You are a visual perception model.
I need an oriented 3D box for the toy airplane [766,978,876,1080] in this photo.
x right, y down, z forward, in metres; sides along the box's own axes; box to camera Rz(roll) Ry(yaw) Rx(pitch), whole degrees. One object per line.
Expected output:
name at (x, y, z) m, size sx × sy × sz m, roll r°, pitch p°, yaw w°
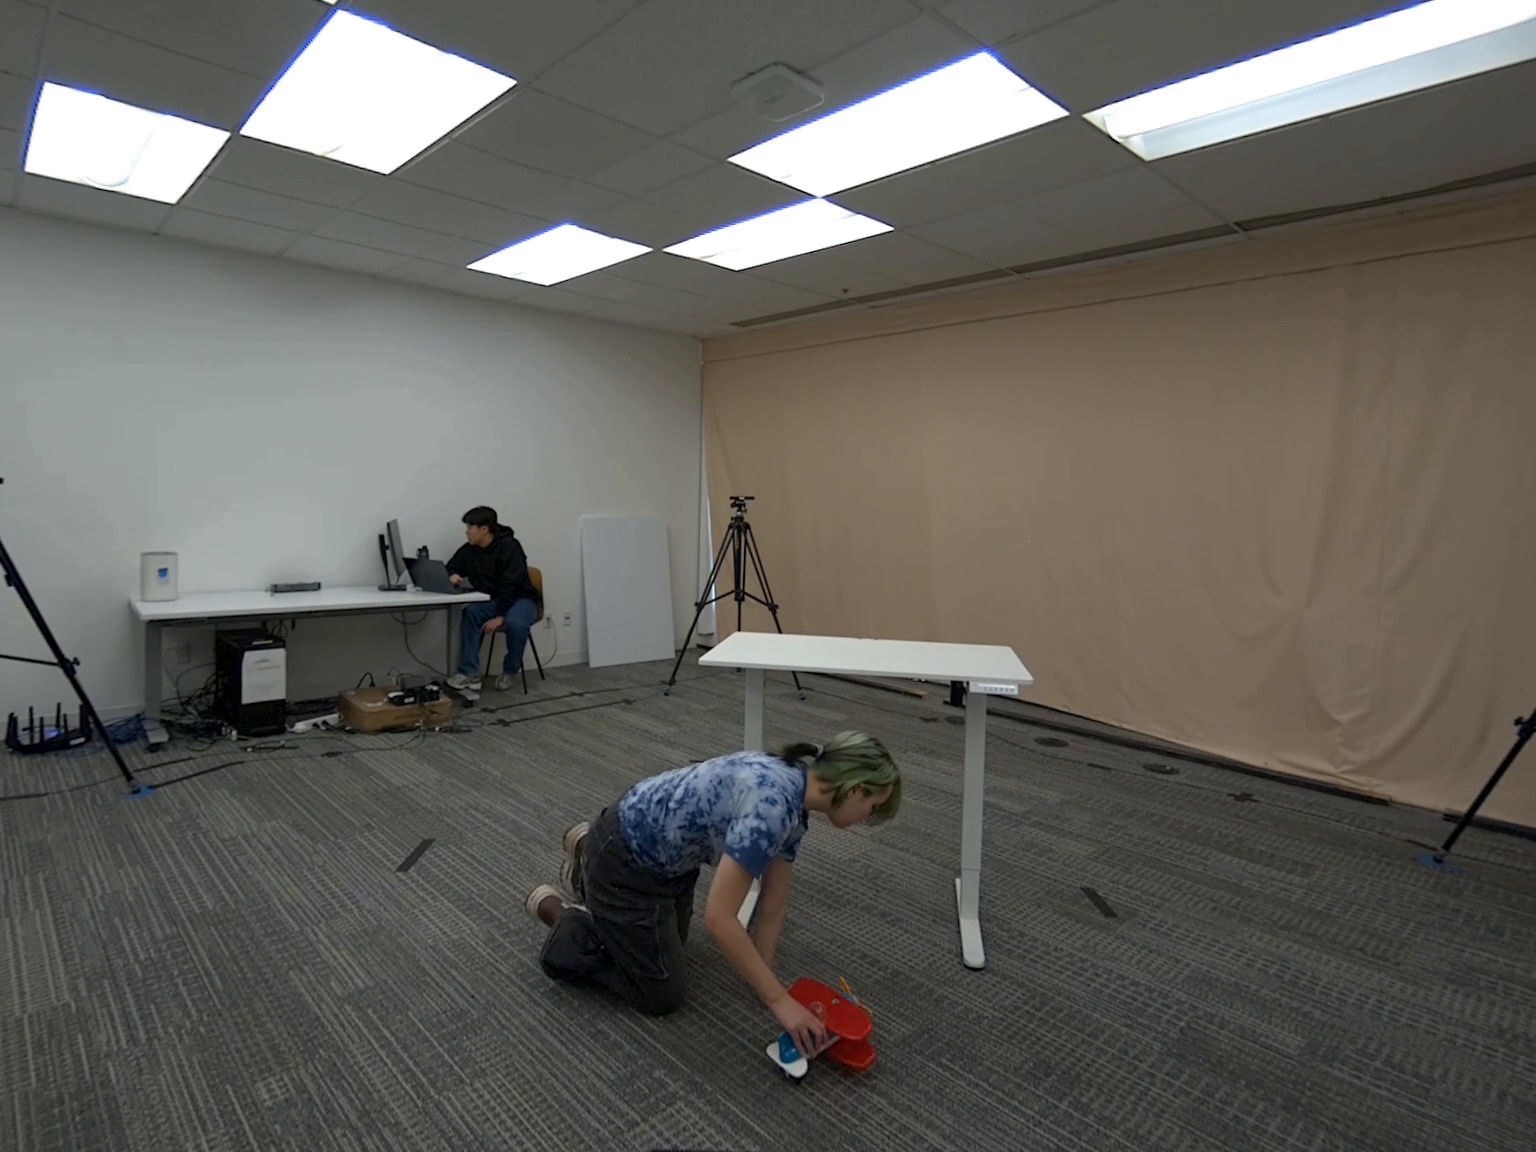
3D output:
toy airplane at (0.136, 1.138, 2.049) m, size 0.256 × 0.156 × 0.255 m, roll 4°, pitch 5°, yaw 23°
